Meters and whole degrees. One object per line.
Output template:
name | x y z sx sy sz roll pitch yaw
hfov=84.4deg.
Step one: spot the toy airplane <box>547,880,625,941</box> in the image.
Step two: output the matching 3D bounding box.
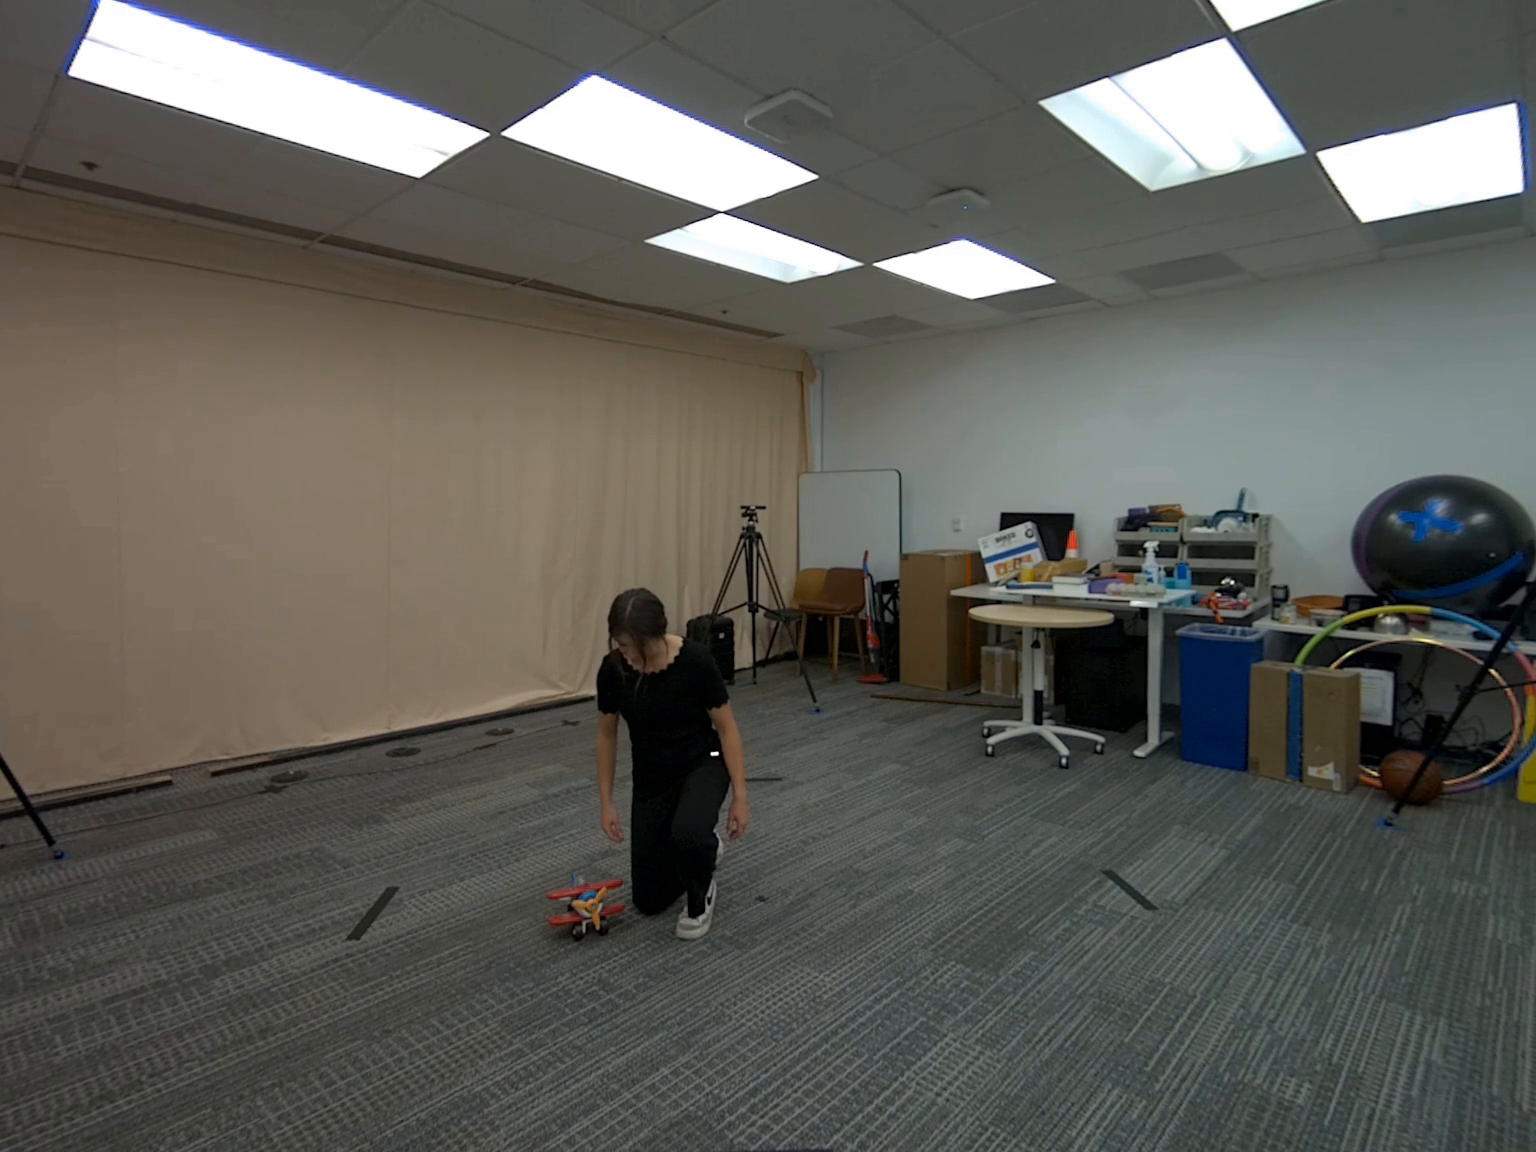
toy airplane | -0.629 1.095 2.794 0.267 0.156 0.244 3 7 36
